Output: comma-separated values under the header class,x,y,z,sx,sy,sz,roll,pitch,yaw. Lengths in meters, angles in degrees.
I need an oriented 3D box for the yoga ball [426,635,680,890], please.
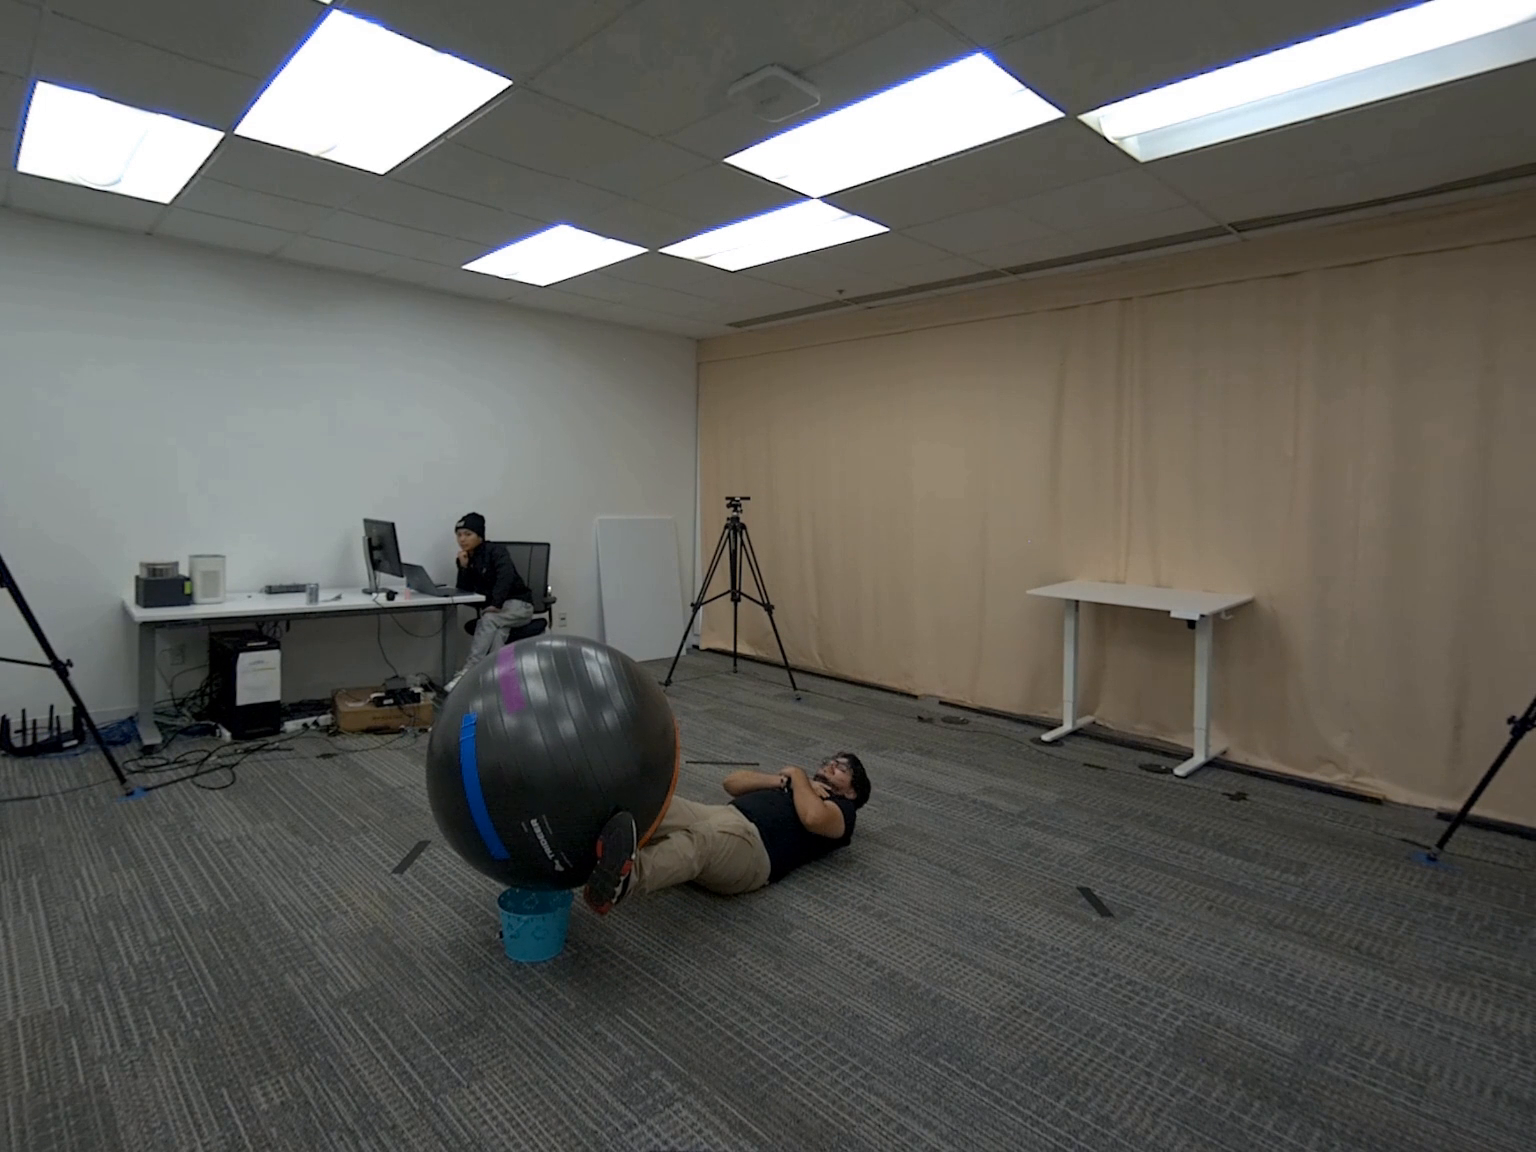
class,x,y,z,sx,sy,sz,roll,pitch,yaw
yoga ball,-0.659,0.565,2.589,0.757,0.756,0.761,1,4,-1
